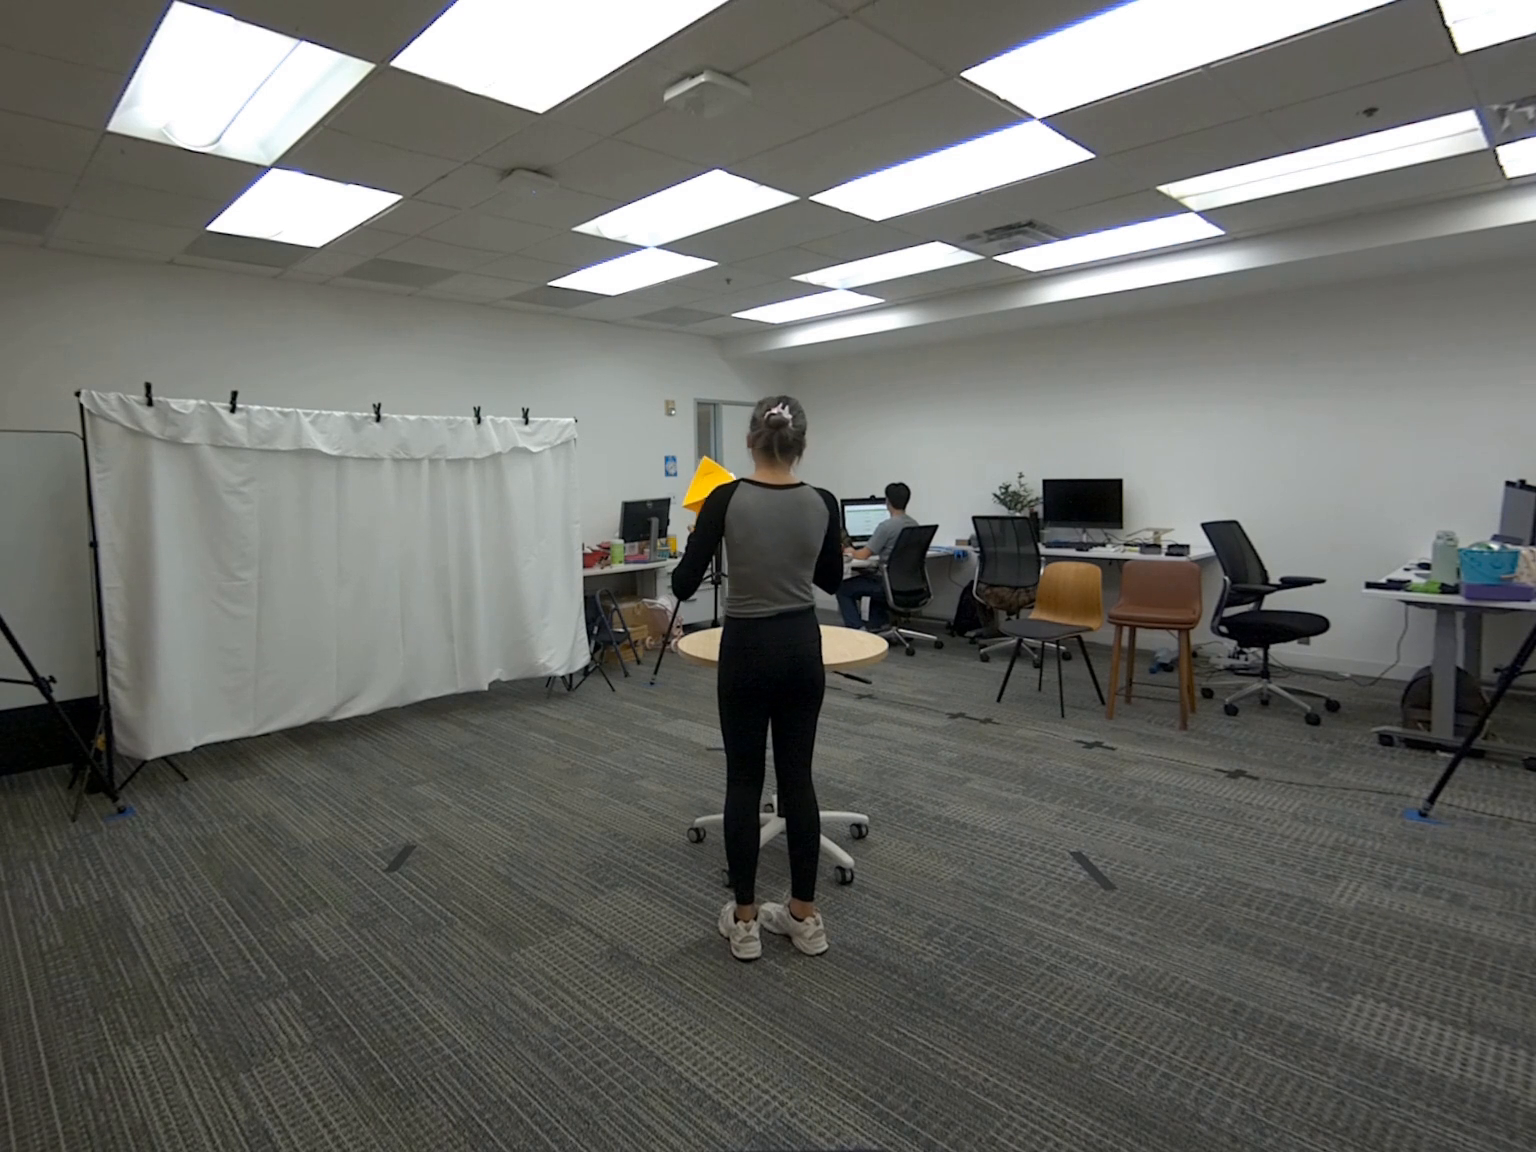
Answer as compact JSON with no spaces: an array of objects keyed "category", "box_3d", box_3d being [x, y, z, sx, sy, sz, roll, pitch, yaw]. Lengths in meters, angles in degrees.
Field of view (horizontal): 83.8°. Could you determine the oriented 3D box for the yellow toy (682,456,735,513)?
[{"category":"yellow toy","box_3d":[-0.154,-0.269,2.802,0.207,0.235,0.188,-18,-15,15]}]
